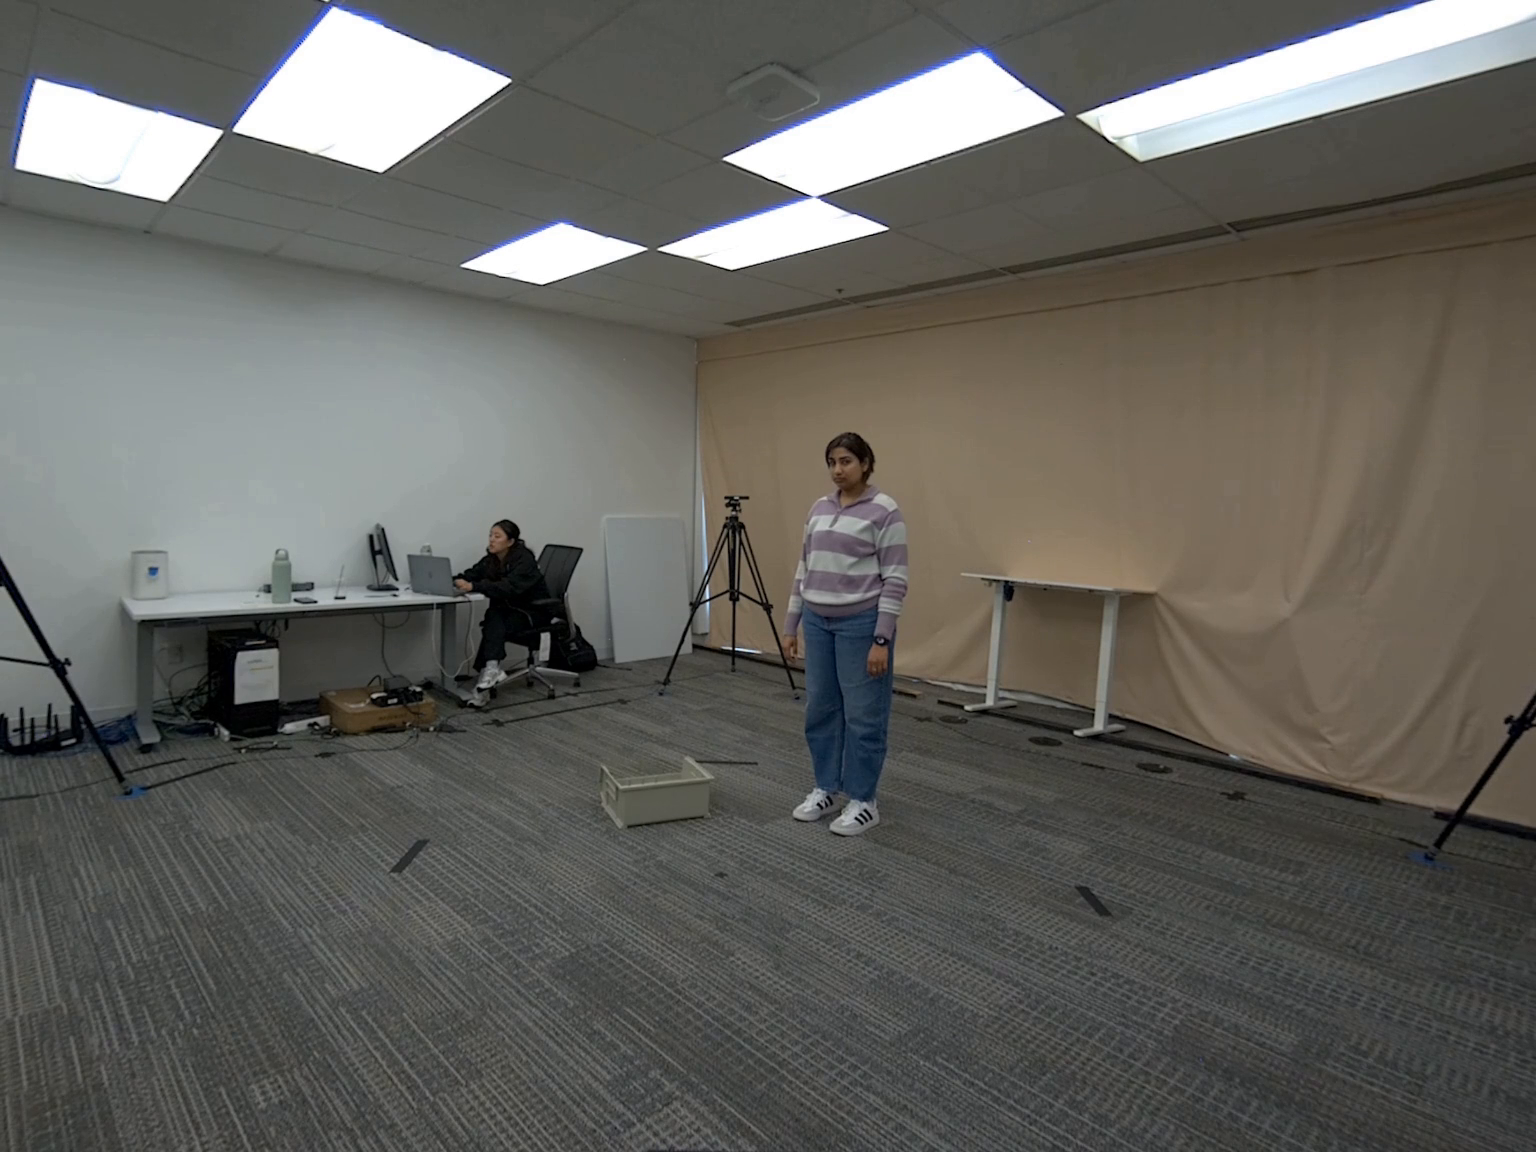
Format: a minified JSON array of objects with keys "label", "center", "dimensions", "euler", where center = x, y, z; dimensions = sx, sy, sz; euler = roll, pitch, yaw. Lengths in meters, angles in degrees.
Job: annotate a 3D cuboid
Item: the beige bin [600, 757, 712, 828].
[{"label":"beige bin","center":[-0.516,0.950,3.746],"dimensions":[0.415,0.188,0.385],"euler":[0,6,-25]}]
